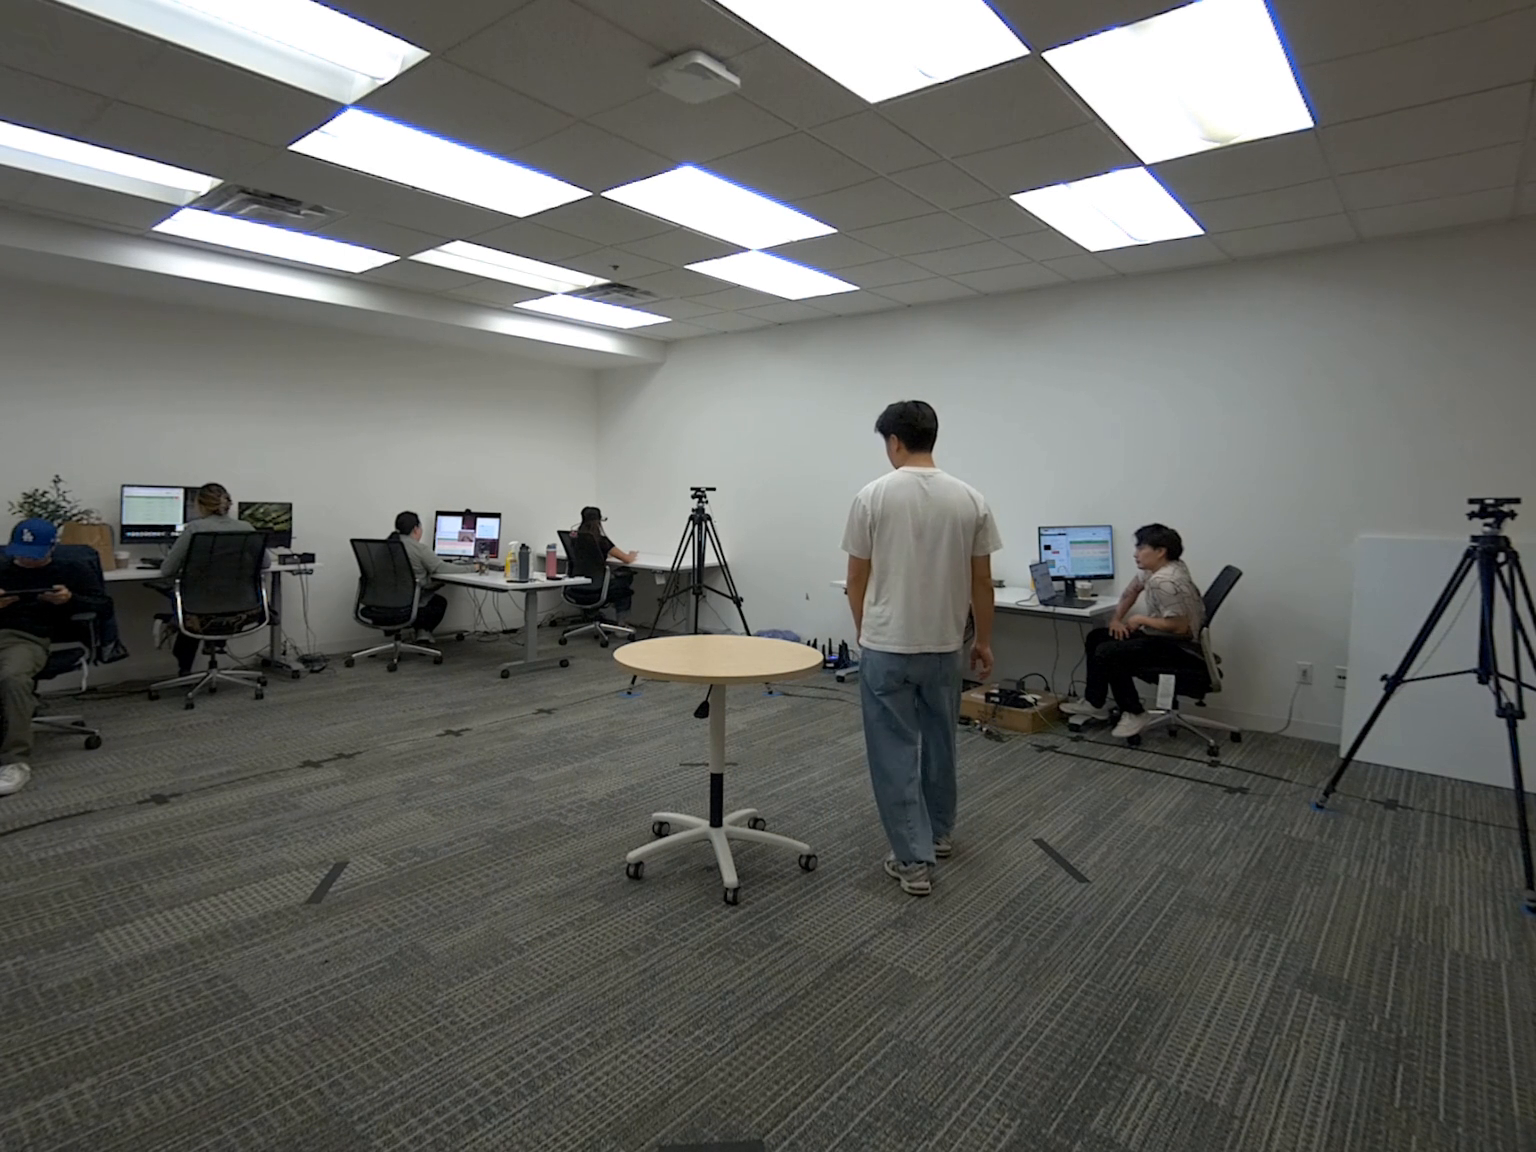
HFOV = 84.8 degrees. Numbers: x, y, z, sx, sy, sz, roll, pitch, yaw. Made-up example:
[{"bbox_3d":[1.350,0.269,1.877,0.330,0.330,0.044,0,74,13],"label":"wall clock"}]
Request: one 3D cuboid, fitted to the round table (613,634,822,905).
[{"bbox_3d":[-0.200,0.674,3.138,0.763,0.792,0.767,1,4,-2],"label":"round table"}]
